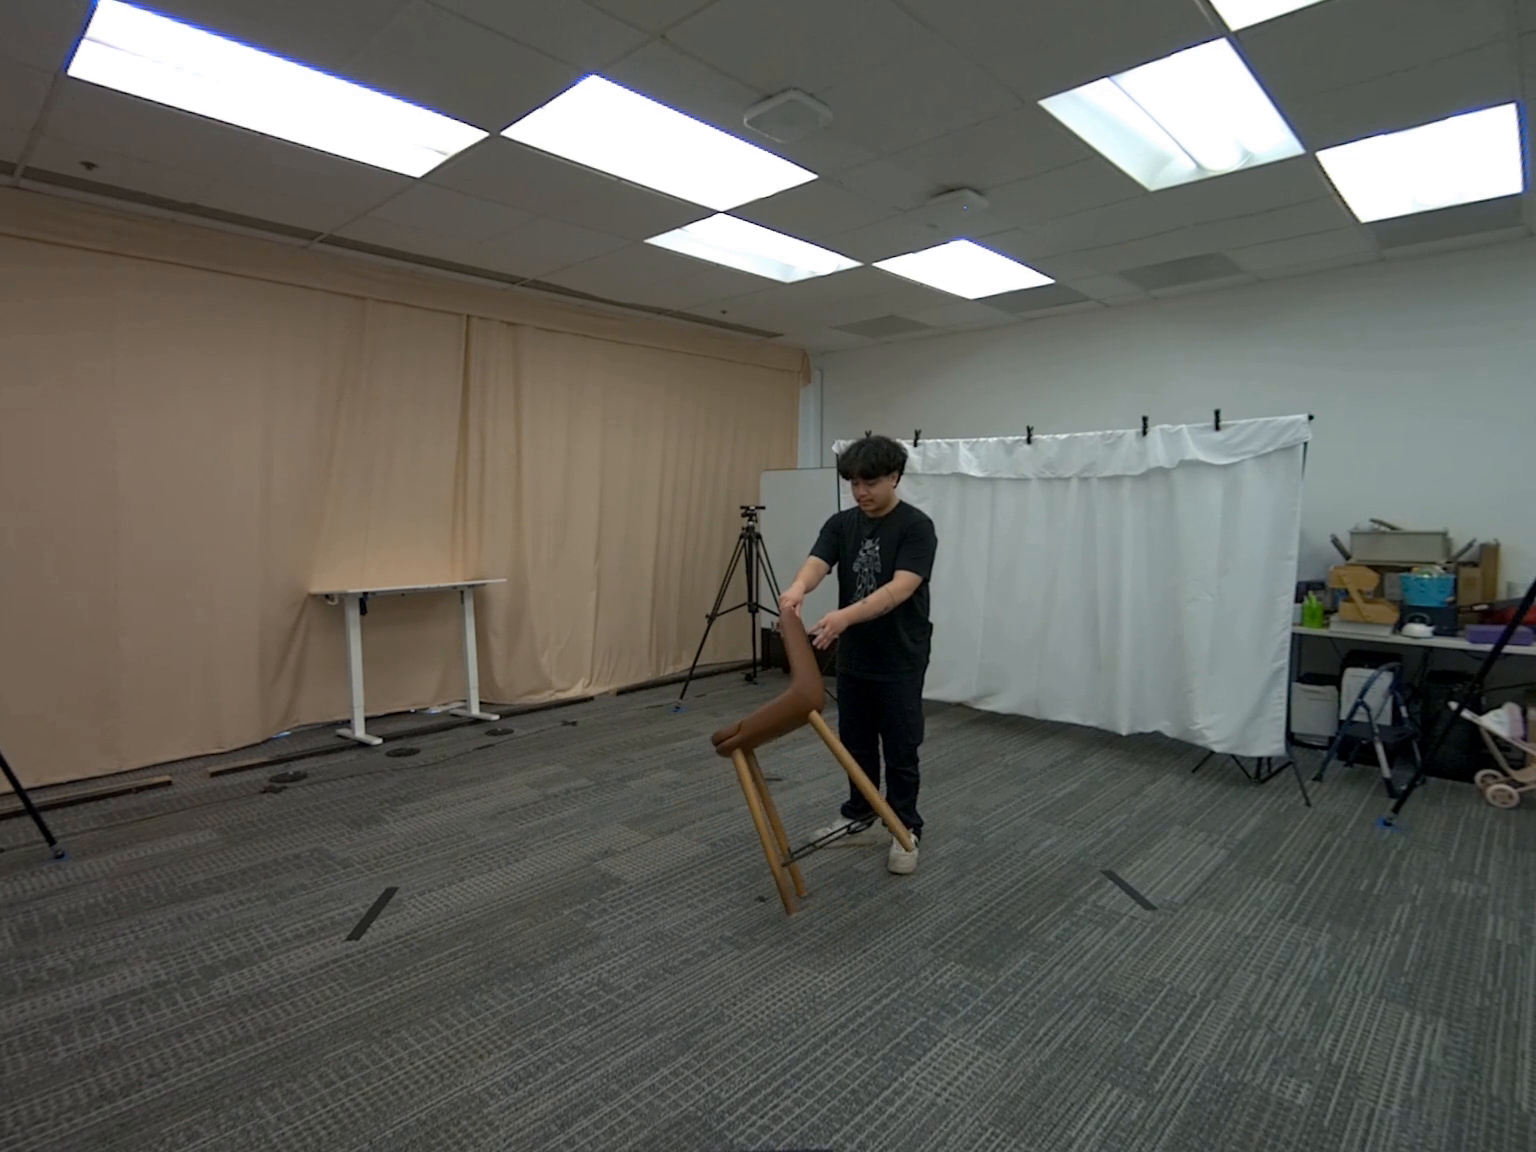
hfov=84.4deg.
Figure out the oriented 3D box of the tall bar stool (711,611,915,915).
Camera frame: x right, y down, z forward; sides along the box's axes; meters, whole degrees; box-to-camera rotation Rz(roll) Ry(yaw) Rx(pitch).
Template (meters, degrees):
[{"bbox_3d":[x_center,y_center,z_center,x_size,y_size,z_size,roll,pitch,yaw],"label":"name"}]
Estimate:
[{"bbox_3d":[0.092,0.623,2.932,0.468,0.904,0.449,-28,-14,2],"label":"tall bar stool"}]
